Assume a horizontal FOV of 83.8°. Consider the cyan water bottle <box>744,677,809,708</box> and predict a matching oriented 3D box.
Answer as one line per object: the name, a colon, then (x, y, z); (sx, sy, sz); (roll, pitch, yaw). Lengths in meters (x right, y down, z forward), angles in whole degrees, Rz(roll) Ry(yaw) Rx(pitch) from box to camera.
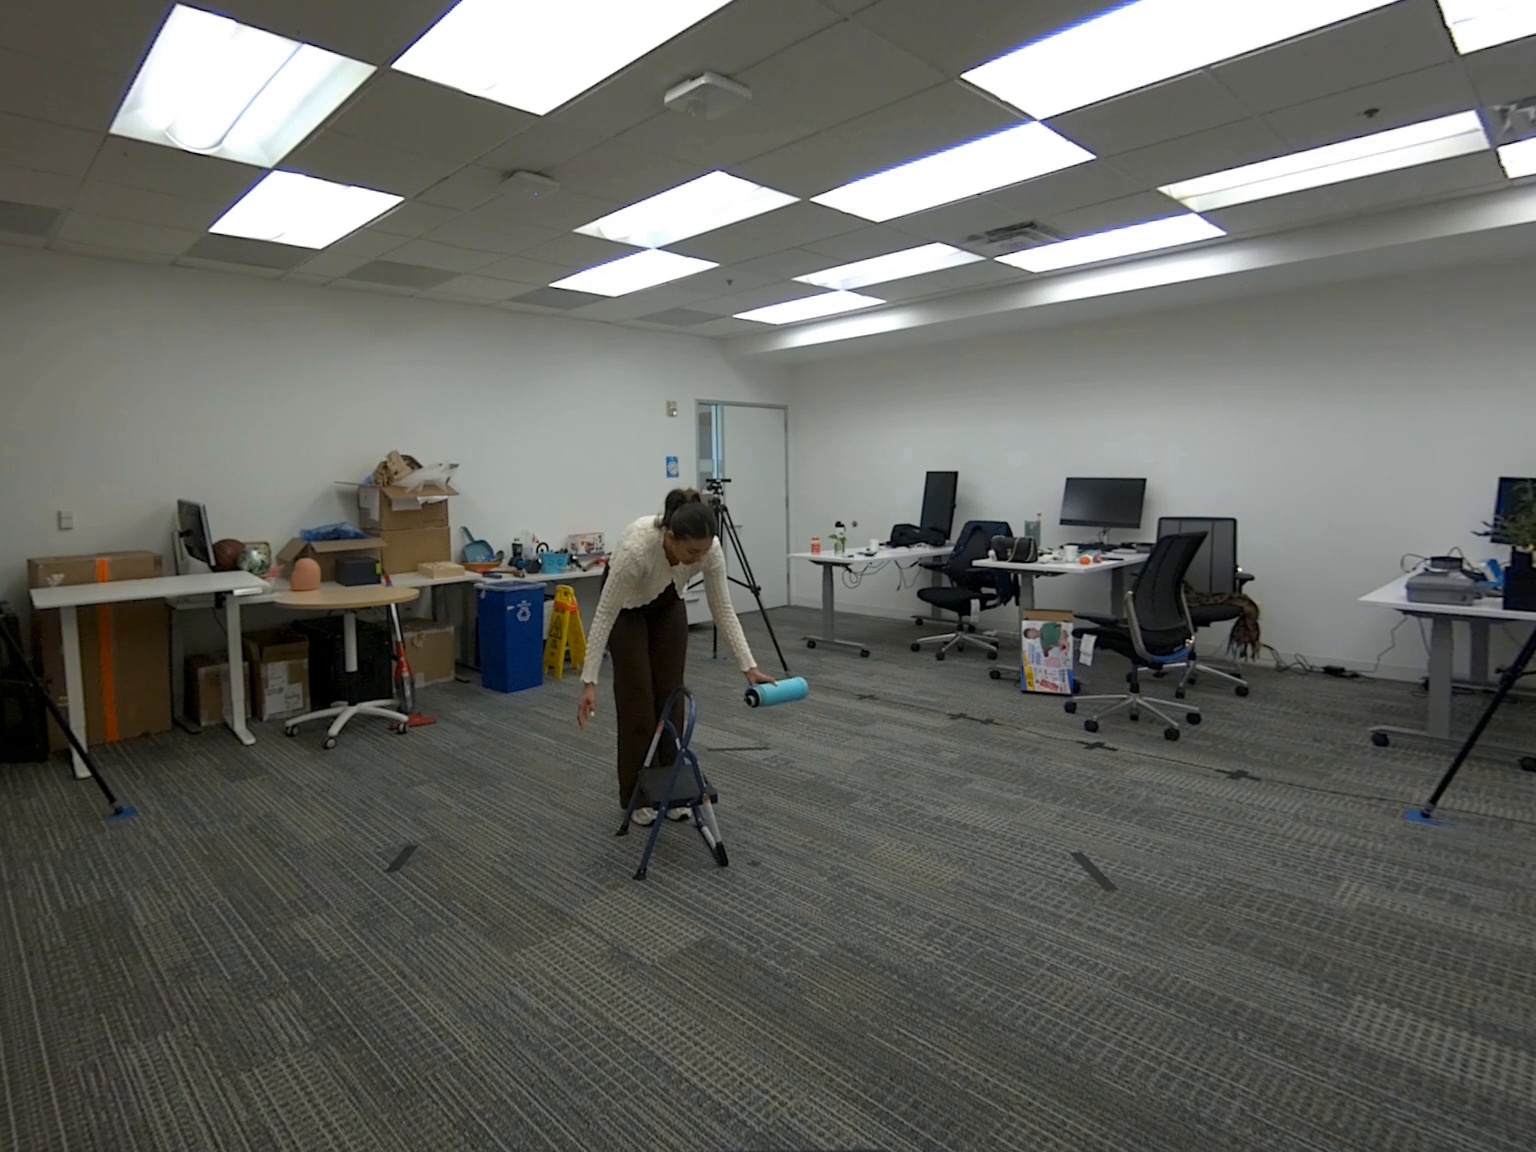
cyan water bottle: (0.034, 0.469, 3.429); (0.276, 0.092, 0.095); (-4, 6, -32)
